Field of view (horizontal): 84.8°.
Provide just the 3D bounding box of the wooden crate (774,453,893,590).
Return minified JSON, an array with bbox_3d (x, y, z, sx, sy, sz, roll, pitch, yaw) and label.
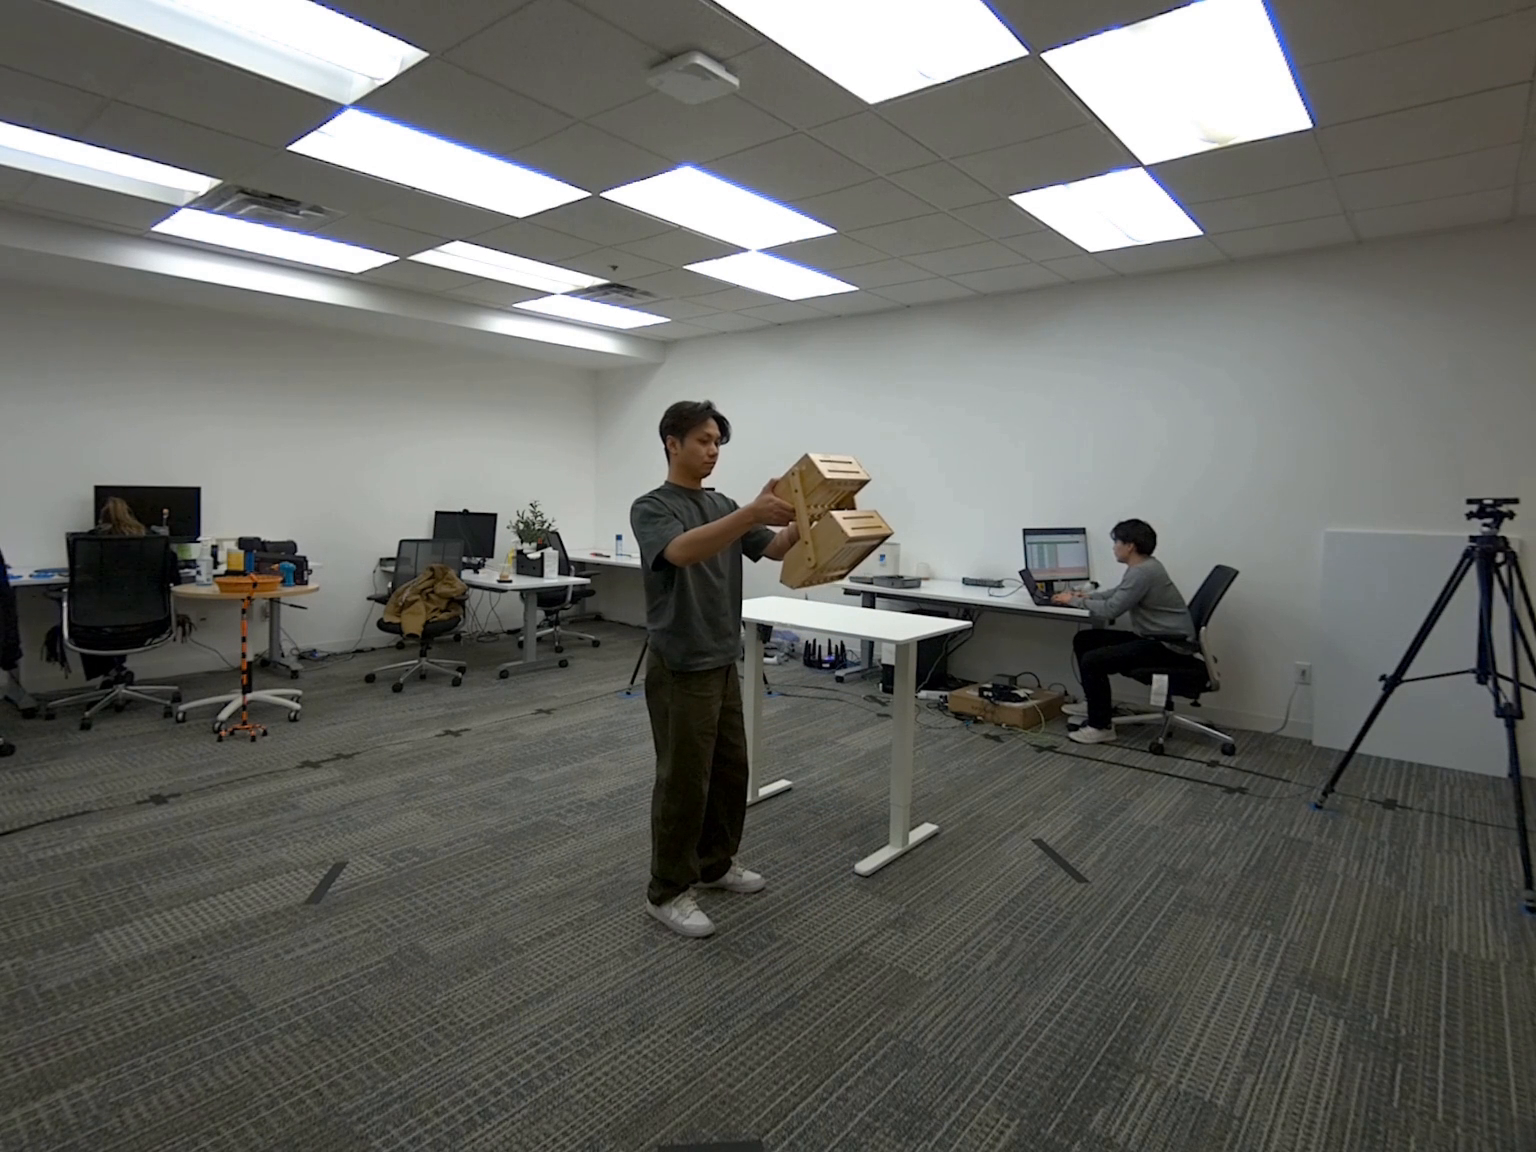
[{"bbox_3d":[0.144,-0.158,2.478,0.302,0.280,0.316,-44,-20,28],"label":"wooden crate"}]
